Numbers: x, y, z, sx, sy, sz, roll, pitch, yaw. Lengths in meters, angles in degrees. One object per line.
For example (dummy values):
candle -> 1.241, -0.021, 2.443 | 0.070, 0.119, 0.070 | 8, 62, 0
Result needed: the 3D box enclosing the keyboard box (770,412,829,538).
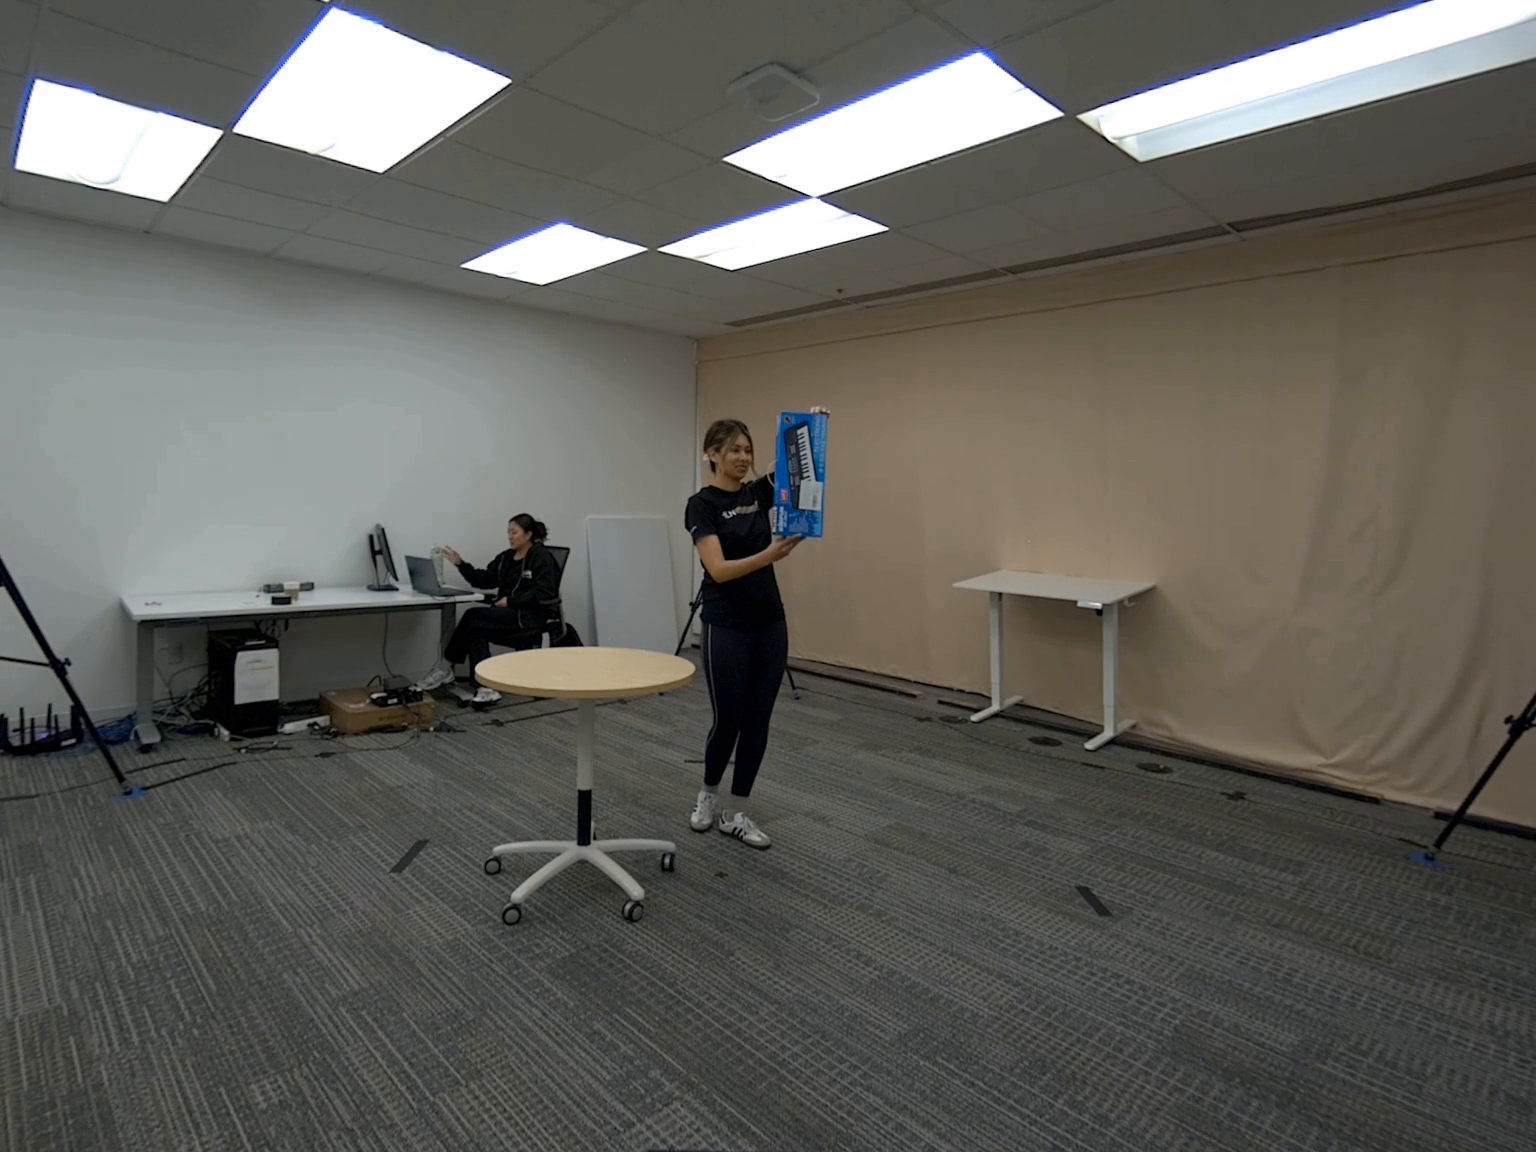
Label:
keyboard box -> 0.109, -0.360, 3.005 | 0.175, 0.437, 0.059 | 2, -1, -8
